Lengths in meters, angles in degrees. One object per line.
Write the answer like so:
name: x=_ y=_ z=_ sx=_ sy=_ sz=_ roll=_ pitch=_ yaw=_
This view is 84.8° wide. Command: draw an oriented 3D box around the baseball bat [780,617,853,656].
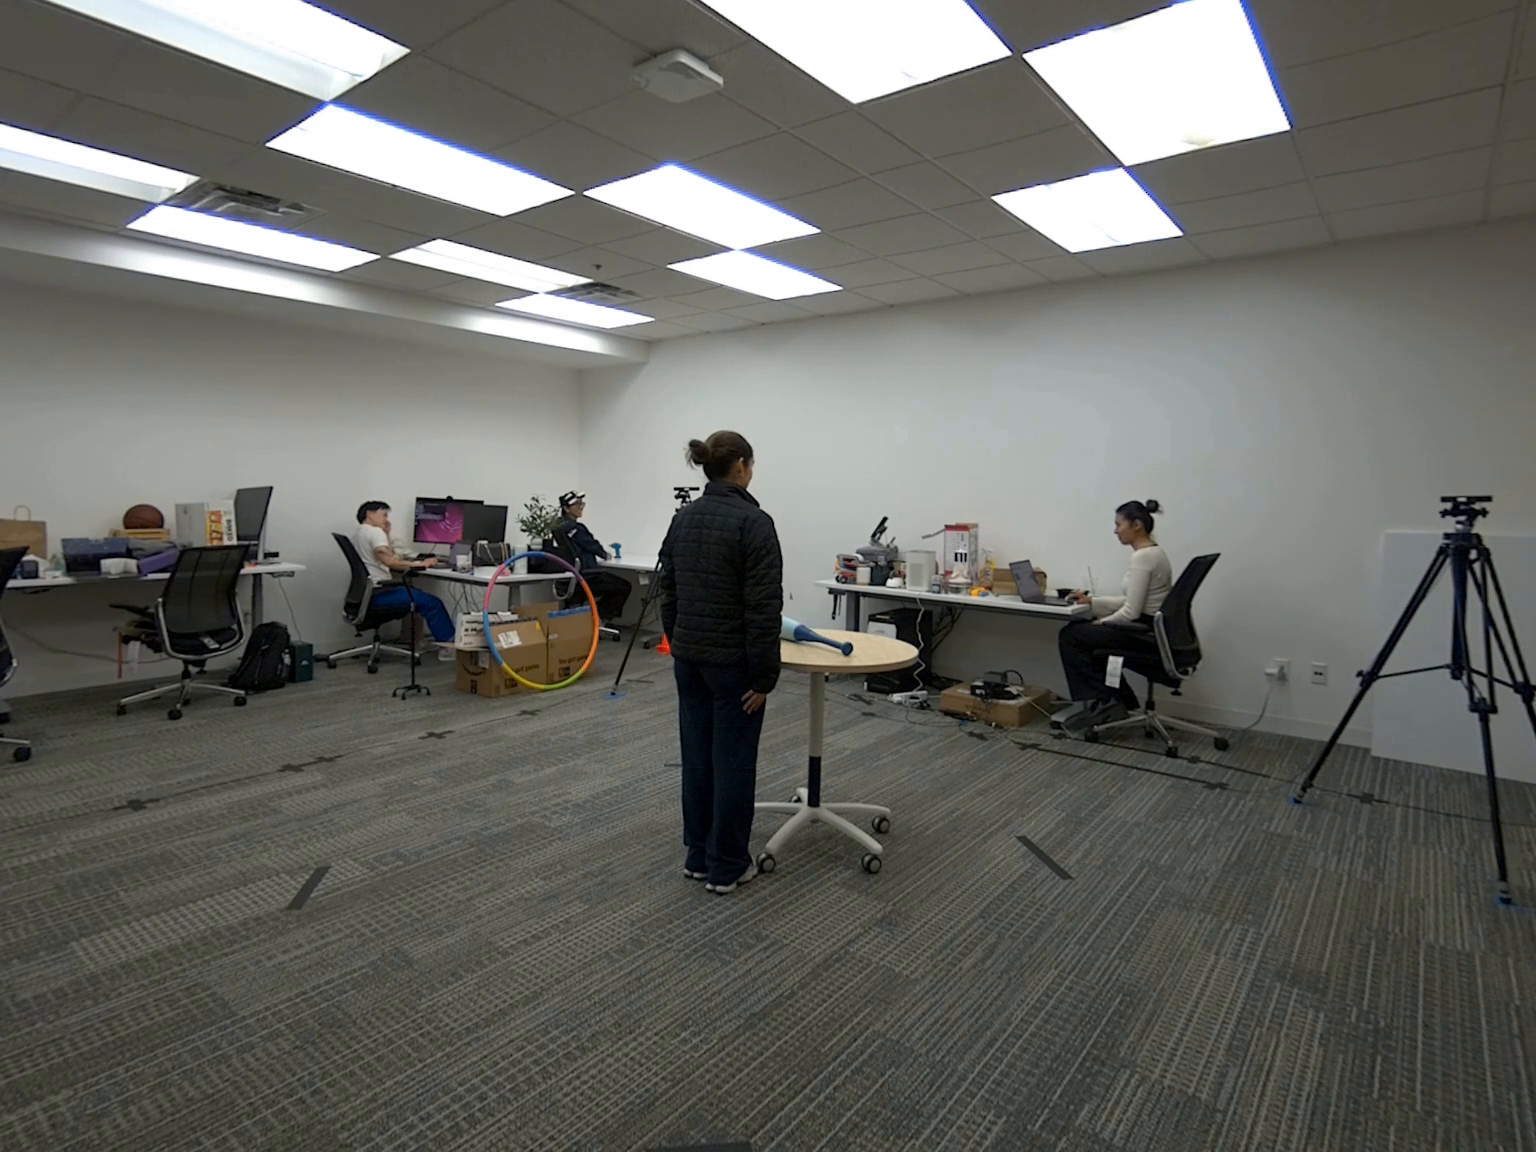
baseball bat: x=0.159 y=0.228 z=3.365 sx=0.086 sy=0.088 sz=0.562 roll=-2 pitch=9 yaw=-33
